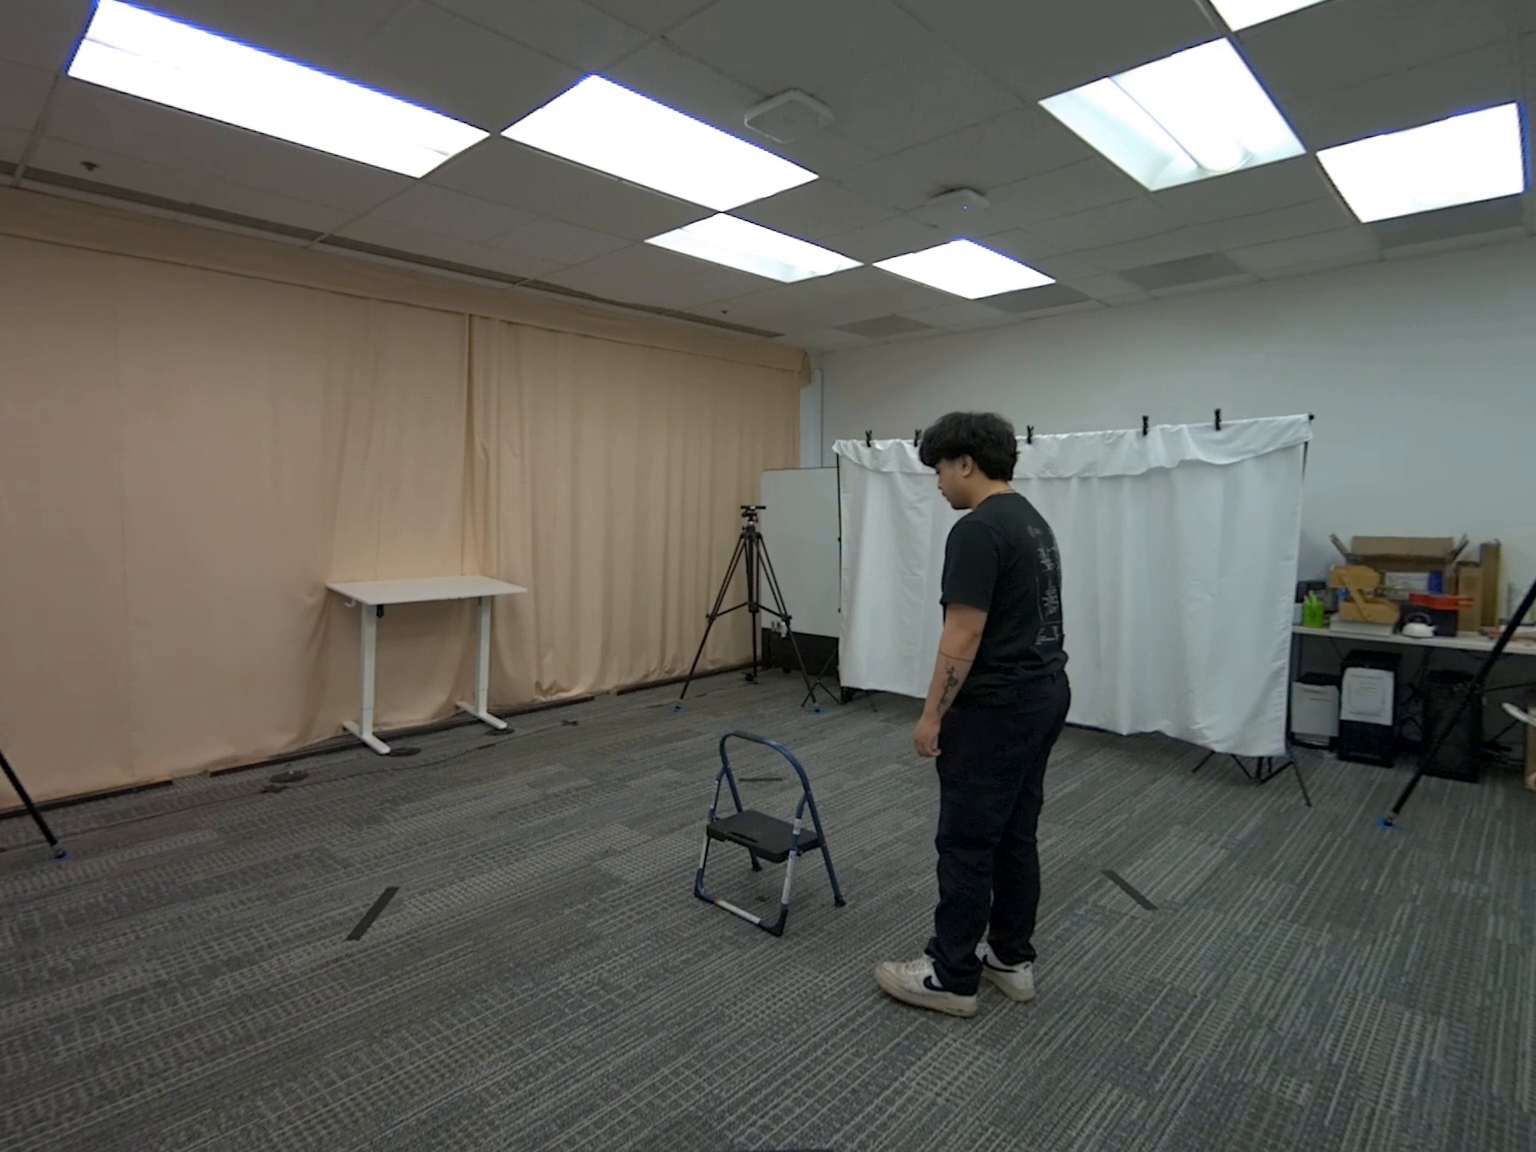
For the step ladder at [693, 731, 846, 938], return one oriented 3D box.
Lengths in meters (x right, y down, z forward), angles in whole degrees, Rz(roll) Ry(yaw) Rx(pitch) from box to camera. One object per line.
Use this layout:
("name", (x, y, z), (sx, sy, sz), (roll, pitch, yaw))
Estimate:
("step ladder", (0.003, 0.841, 2.960), (0.445, 0.605, 0.338), (3, 4, 43))
